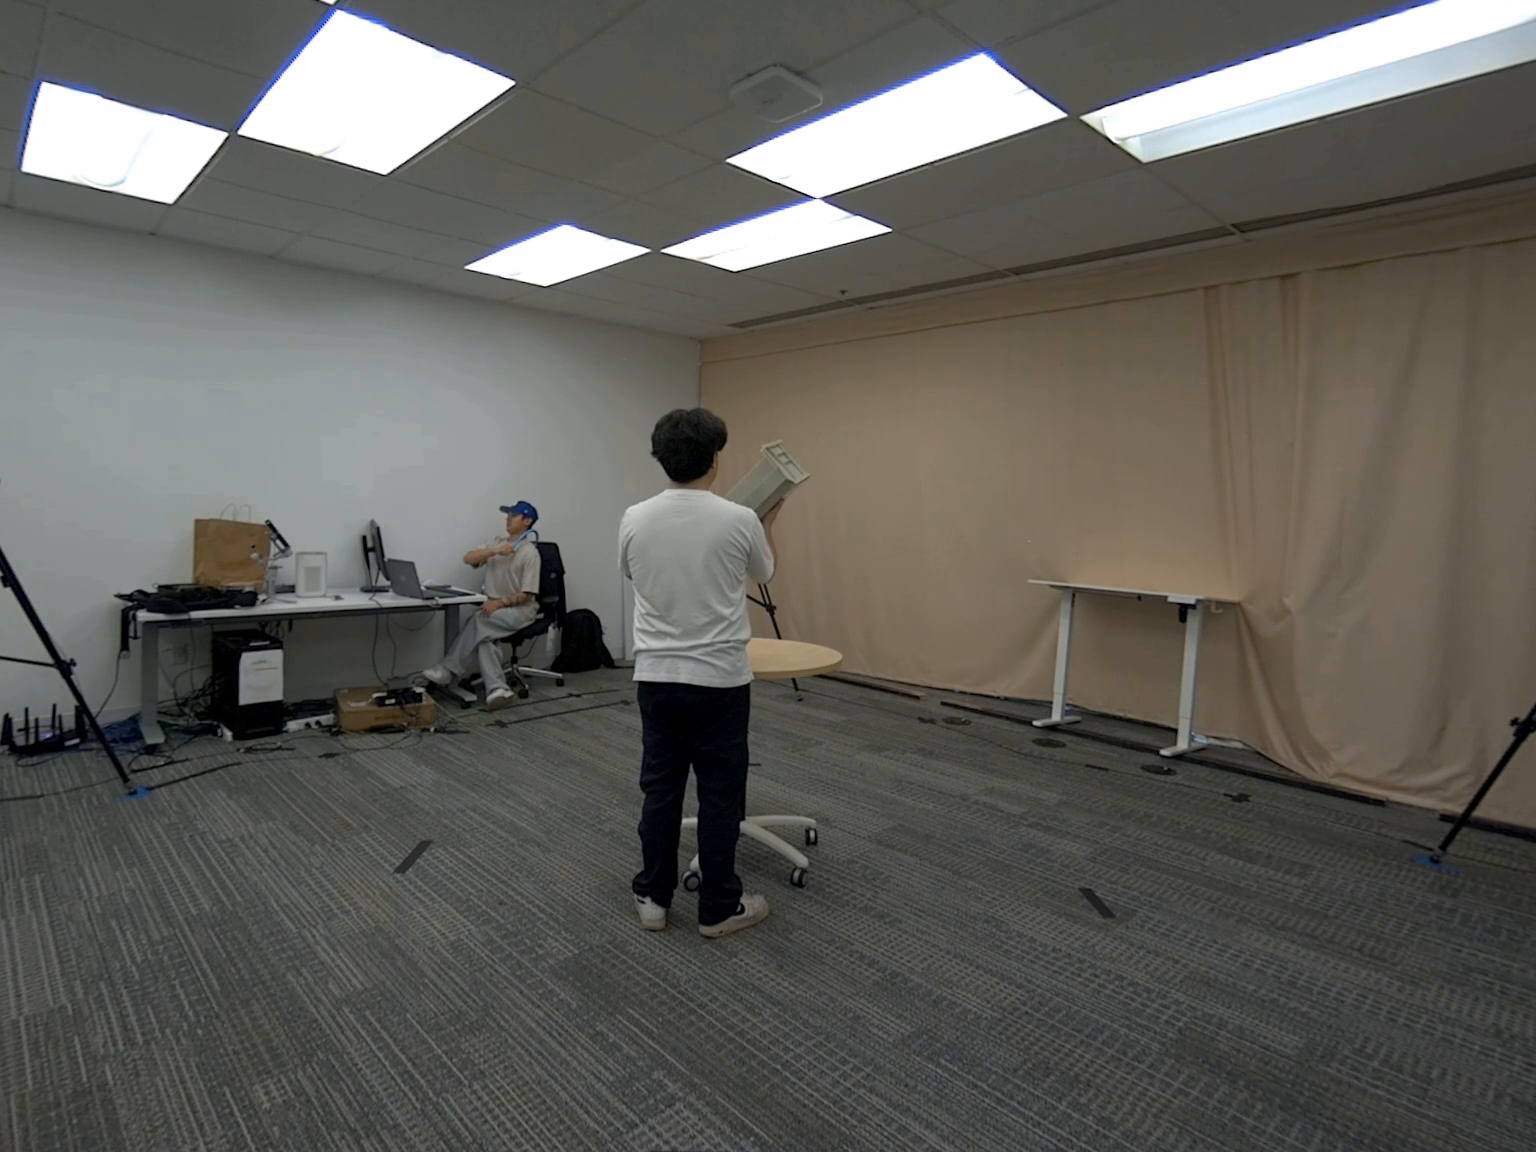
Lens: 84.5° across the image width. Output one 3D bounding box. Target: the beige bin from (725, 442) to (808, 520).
[{"bbox_3d":[-0.085,-0.280,3.096,0.422,0.190,0.375,-45,-3,18],"label":"beige bin"}]
